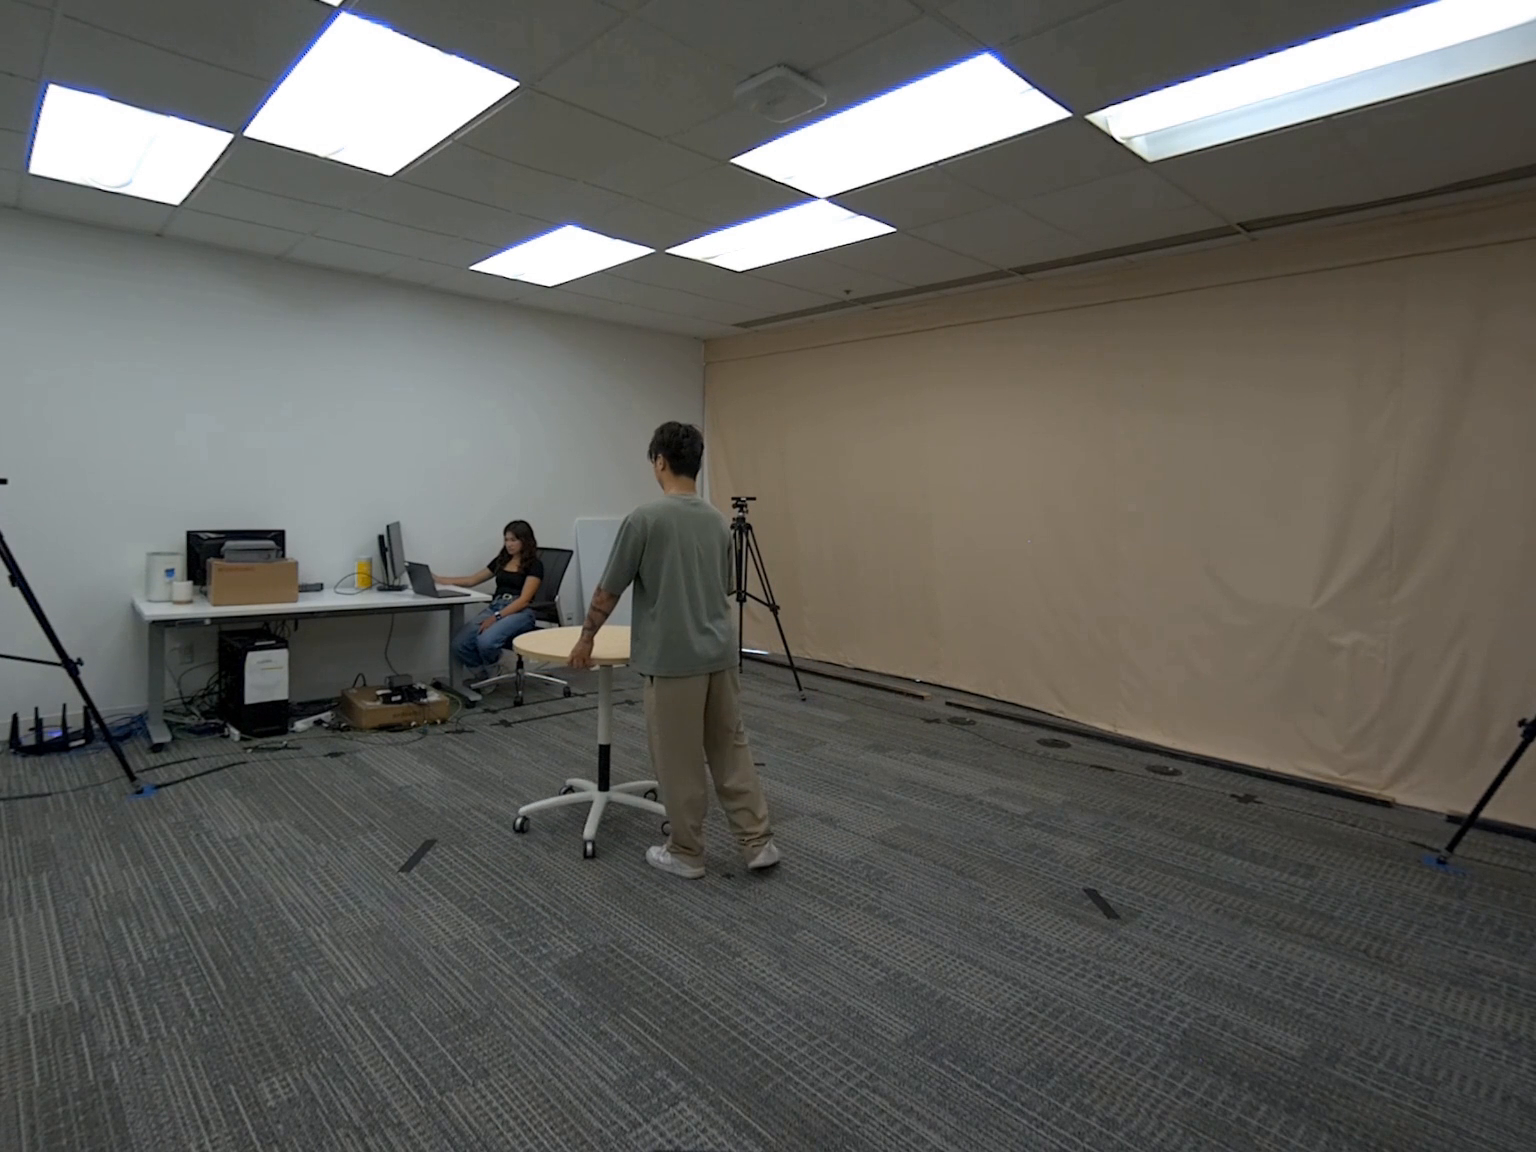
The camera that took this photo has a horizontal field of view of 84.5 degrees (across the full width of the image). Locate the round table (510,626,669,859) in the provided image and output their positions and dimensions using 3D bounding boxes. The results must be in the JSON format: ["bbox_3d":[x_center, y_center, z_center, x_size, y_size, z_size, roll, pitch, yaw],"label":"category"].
[{"bbox_3d":[-0.704,0.657,3.580,0.784,0.784,0.788,2,4,-2],"label":"round table"}]
